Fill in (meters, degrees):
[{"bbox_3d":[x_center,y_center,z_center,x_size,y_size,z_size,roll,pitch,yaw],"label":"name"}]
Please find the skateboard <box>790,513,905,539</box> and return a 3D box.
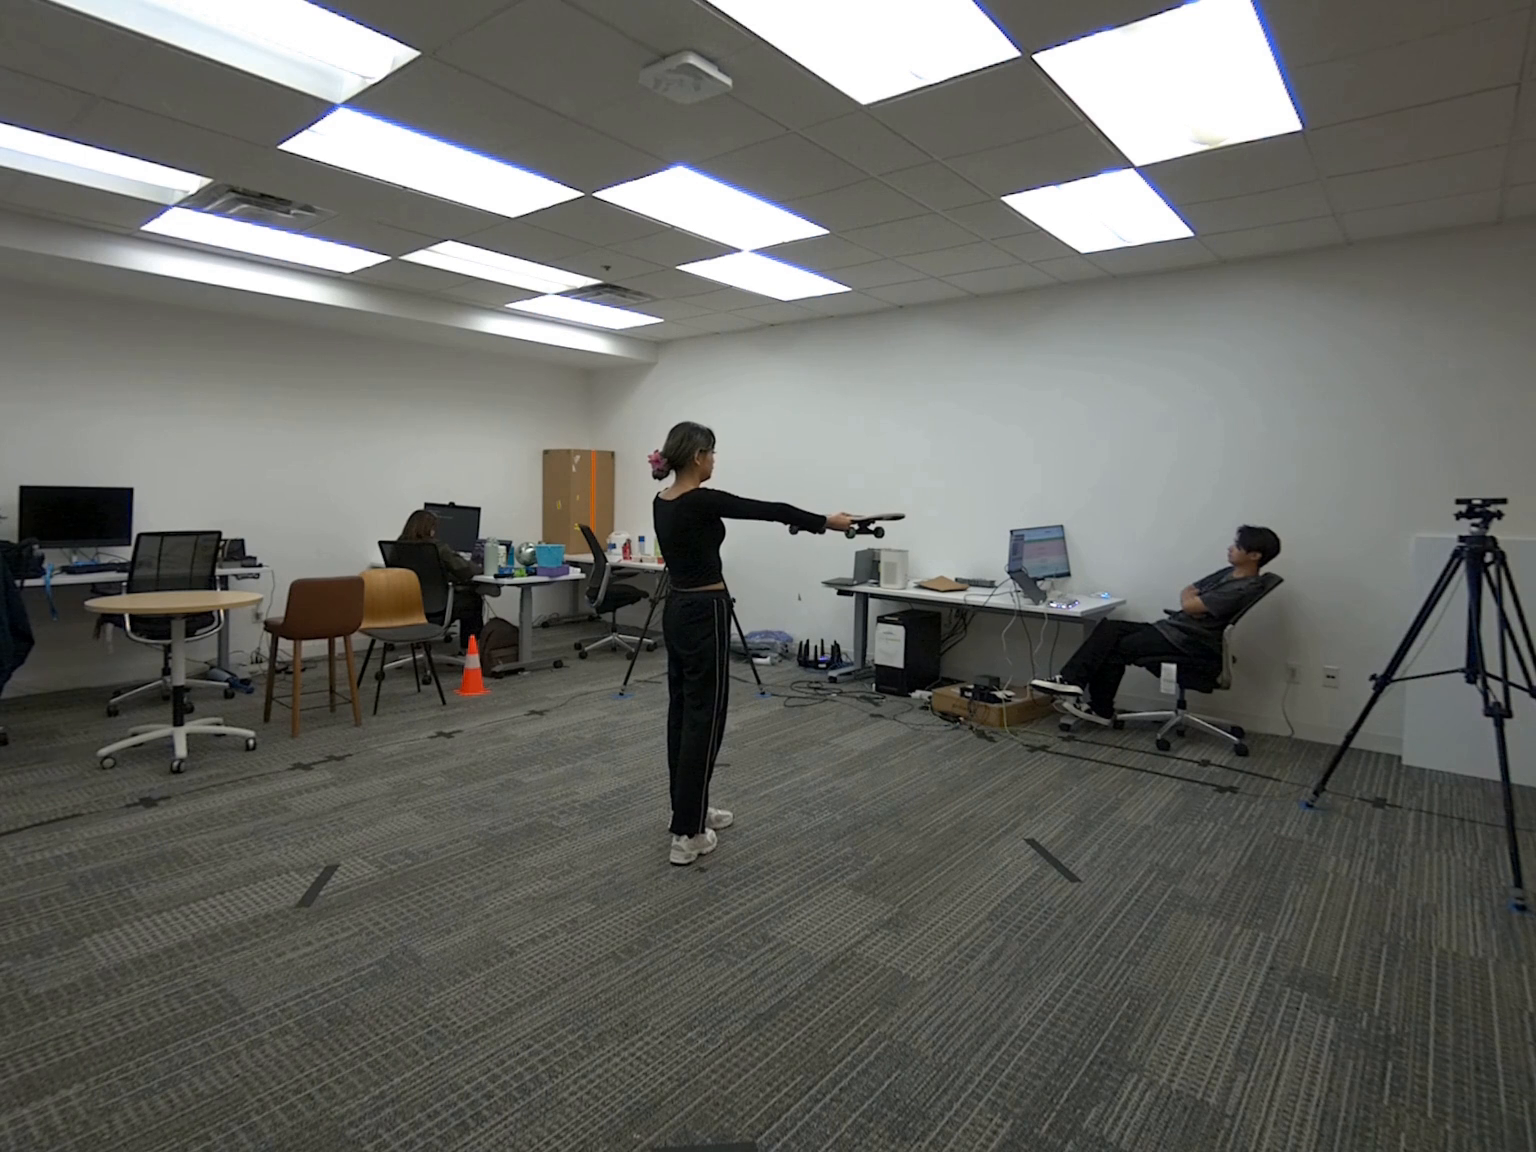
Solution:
[{"bbox_3d":[0.272,-0.233,3.668,0.188,0.110,0.809,-1,4,-32],"label":"skateboard"}]
